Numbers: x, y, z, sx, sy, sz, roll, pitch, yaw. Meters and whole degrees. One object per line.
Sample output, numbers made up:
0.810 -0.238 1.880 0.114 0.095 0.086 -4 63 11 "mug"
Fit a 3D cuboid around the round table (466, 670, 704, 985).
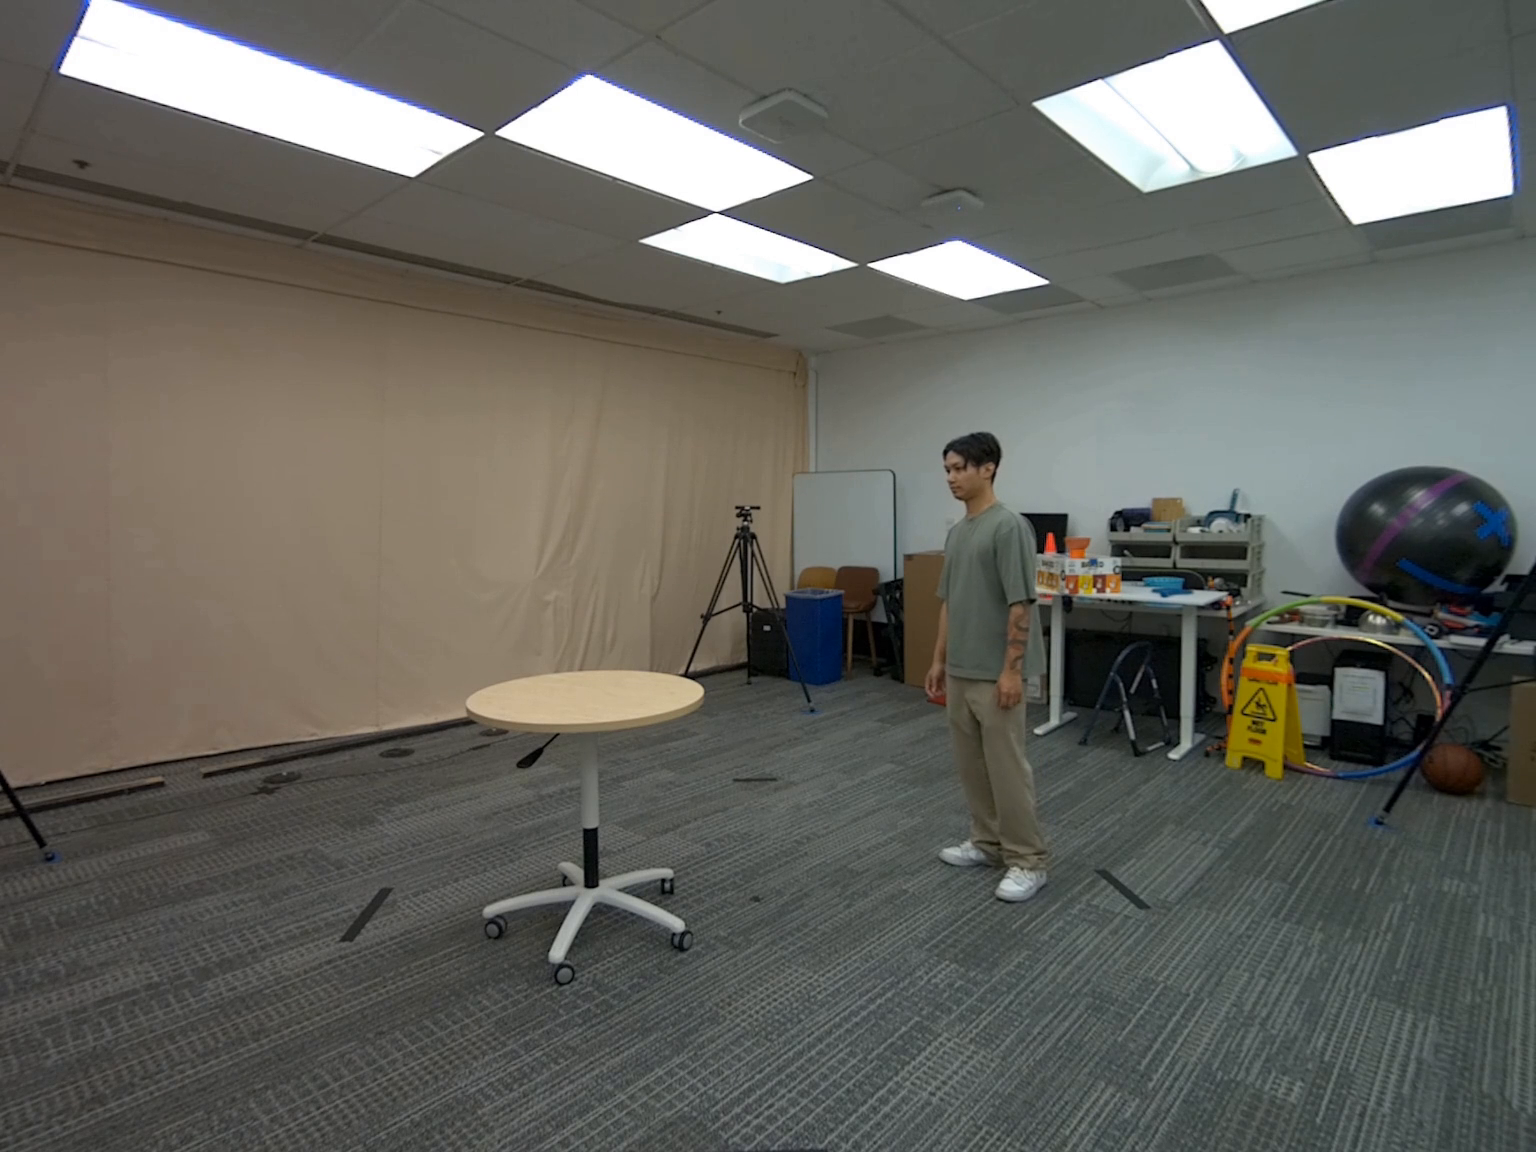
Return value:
-0.584 0.774 2.760 0.784 0.785 0.788 -1 4 -2 "round table"
